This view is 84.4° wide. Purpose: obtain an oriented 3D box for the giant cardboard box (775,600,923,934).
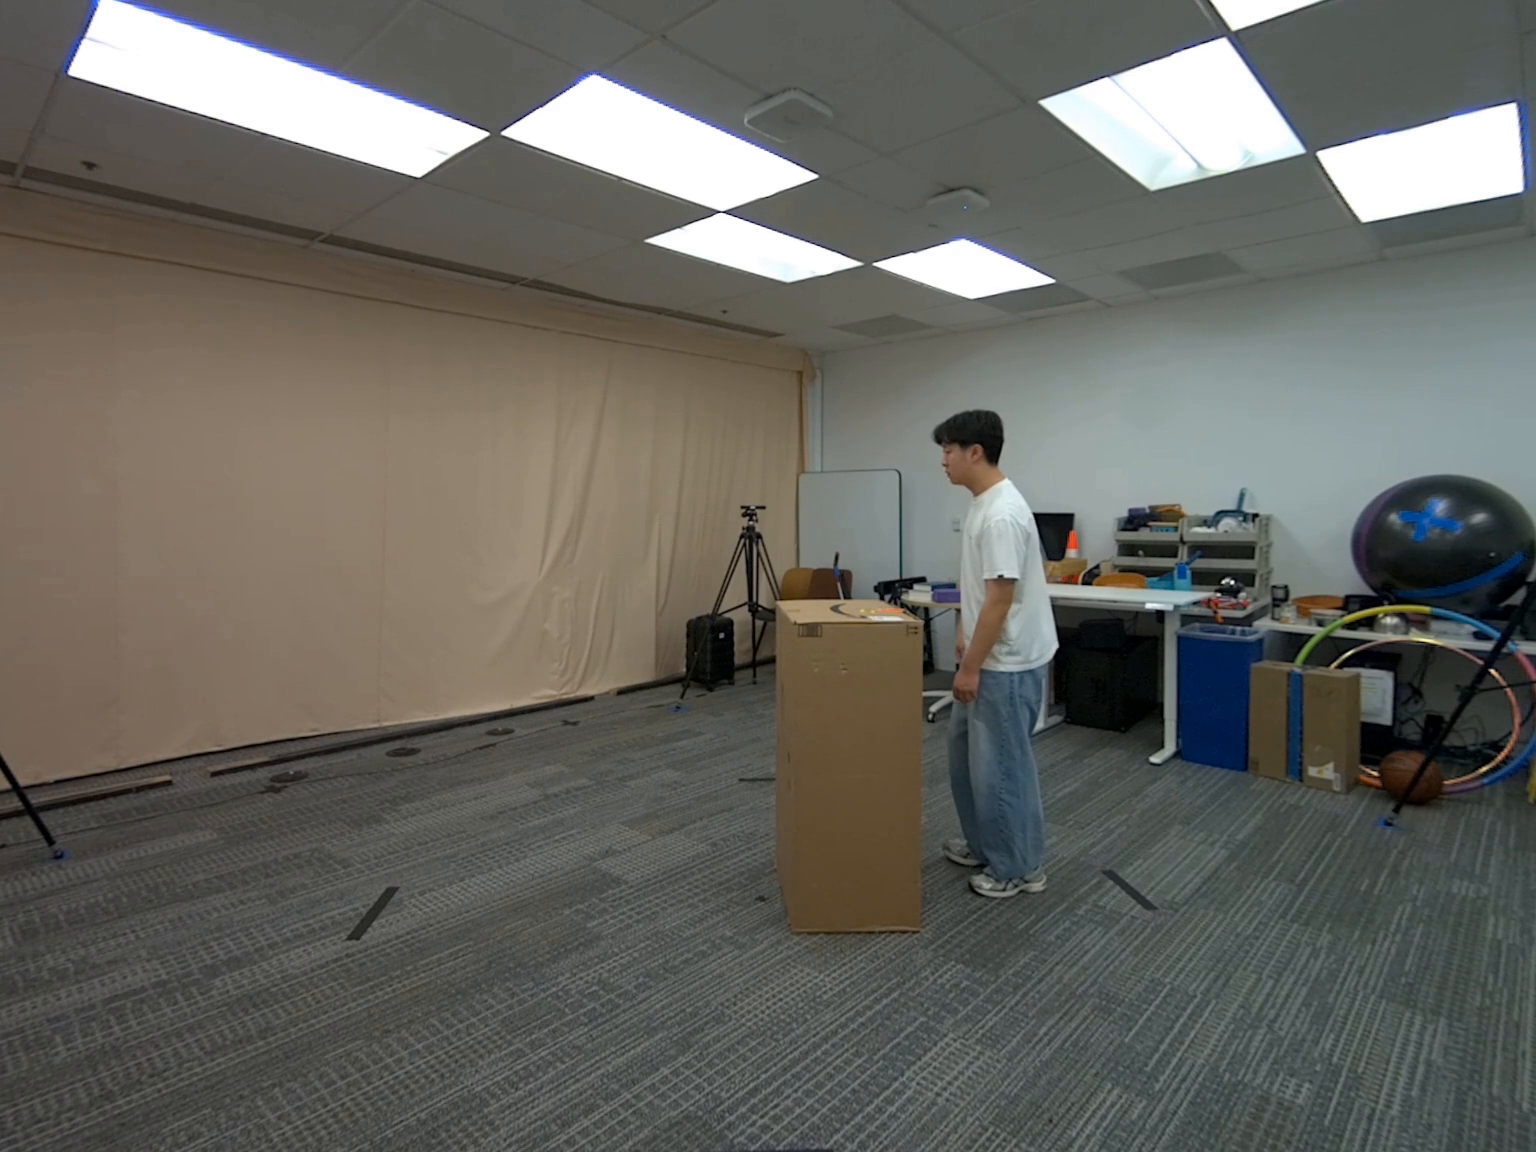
[{"bbox_3d":[0.272,0.634,2.994,0.425,1.024,0.581,0,3,-5],"label":"giant cardboard box"}]
